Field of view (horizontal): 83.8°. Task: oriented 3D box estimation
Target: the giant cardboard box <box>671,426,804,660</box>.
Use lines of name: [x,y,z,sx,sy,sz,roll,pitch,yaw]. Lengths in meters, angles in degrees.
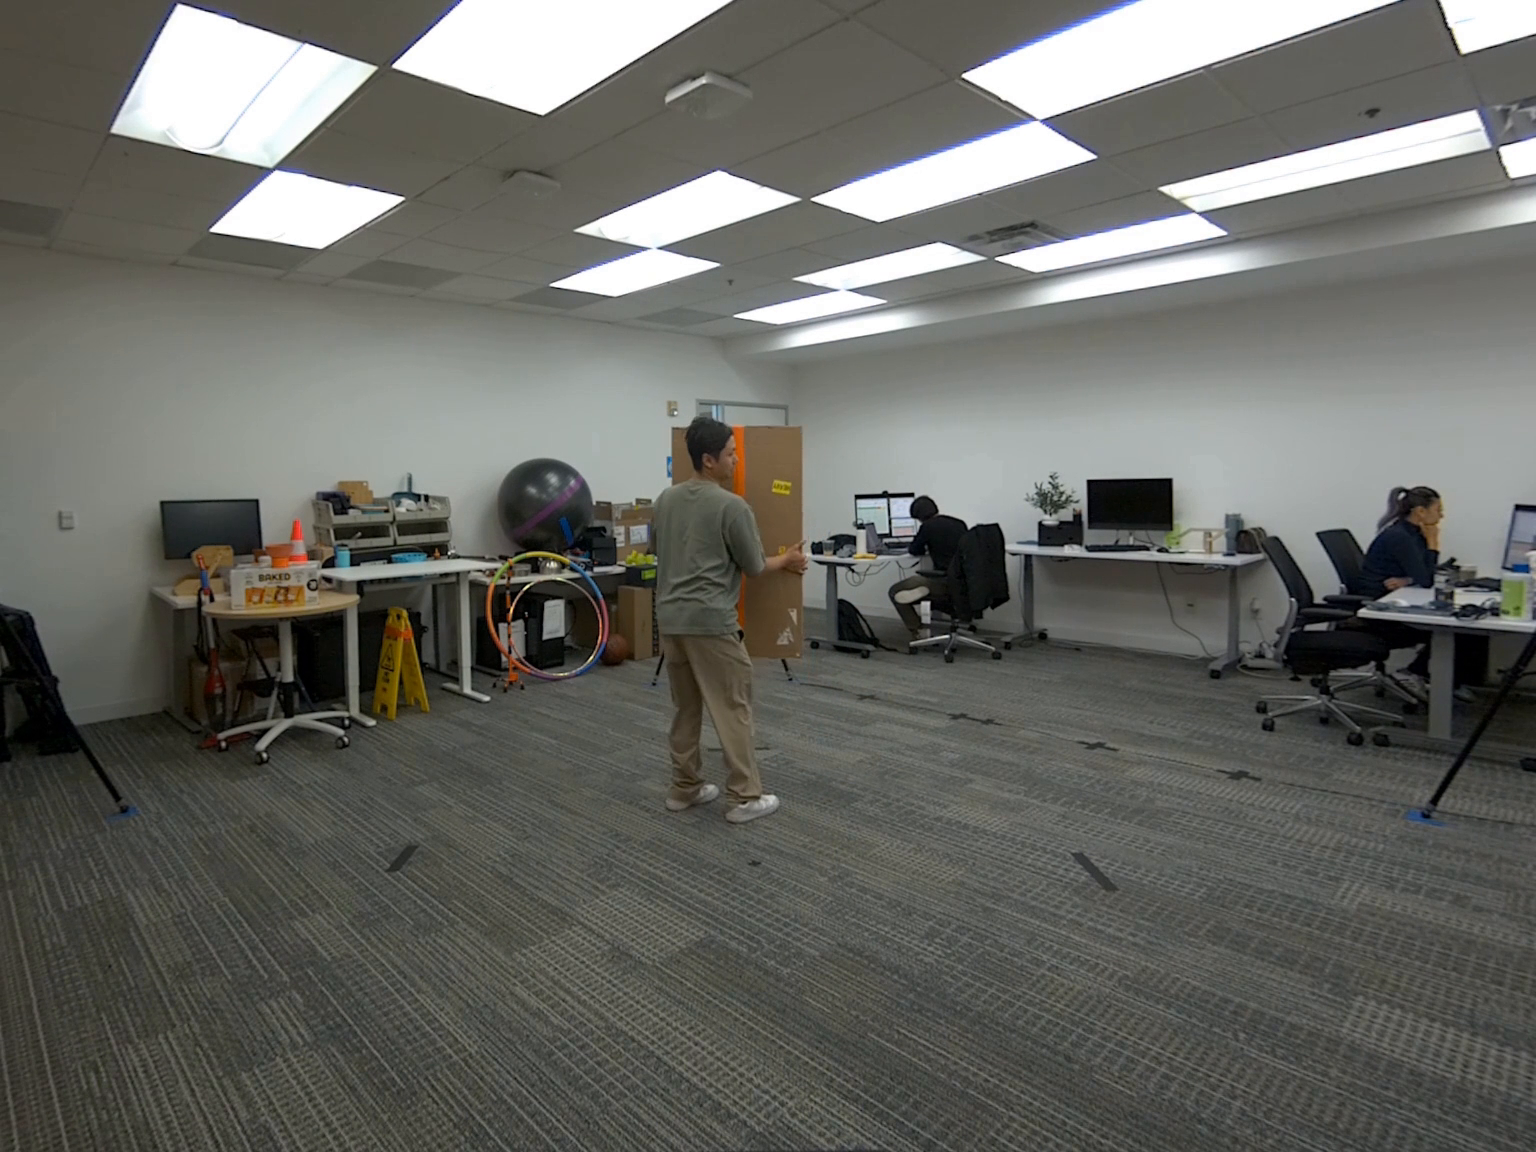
giant cardboard box: [-0.137,-0.159,3.950,0.578,1.022,0.427,0,4,0]
